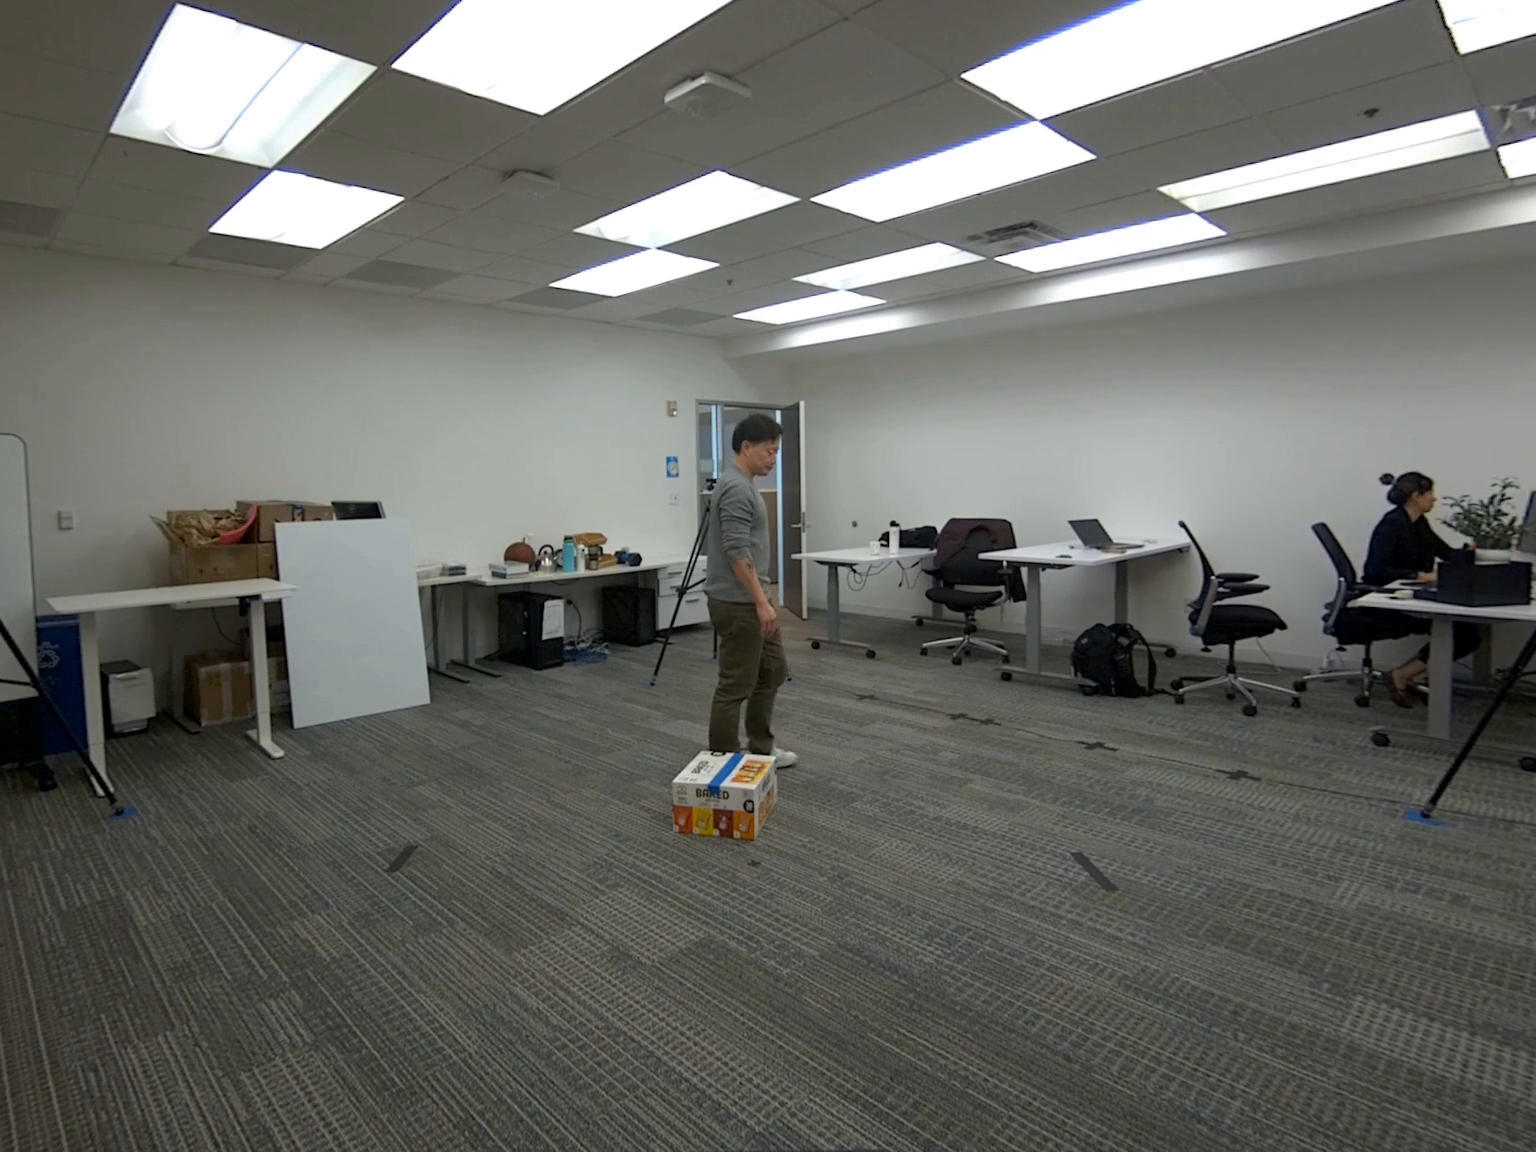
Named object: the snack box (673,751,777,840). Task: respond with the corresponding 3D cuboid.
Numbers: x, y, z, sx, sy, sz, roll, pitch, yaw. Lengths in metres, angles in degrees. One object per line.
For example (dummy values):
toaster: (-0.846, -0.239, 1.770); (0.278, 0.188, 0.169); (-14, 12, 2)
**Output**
snack box: (-0.174, 0.900, 3.537); (0.345, 0.205, 0.401); (1, 6, 14)
